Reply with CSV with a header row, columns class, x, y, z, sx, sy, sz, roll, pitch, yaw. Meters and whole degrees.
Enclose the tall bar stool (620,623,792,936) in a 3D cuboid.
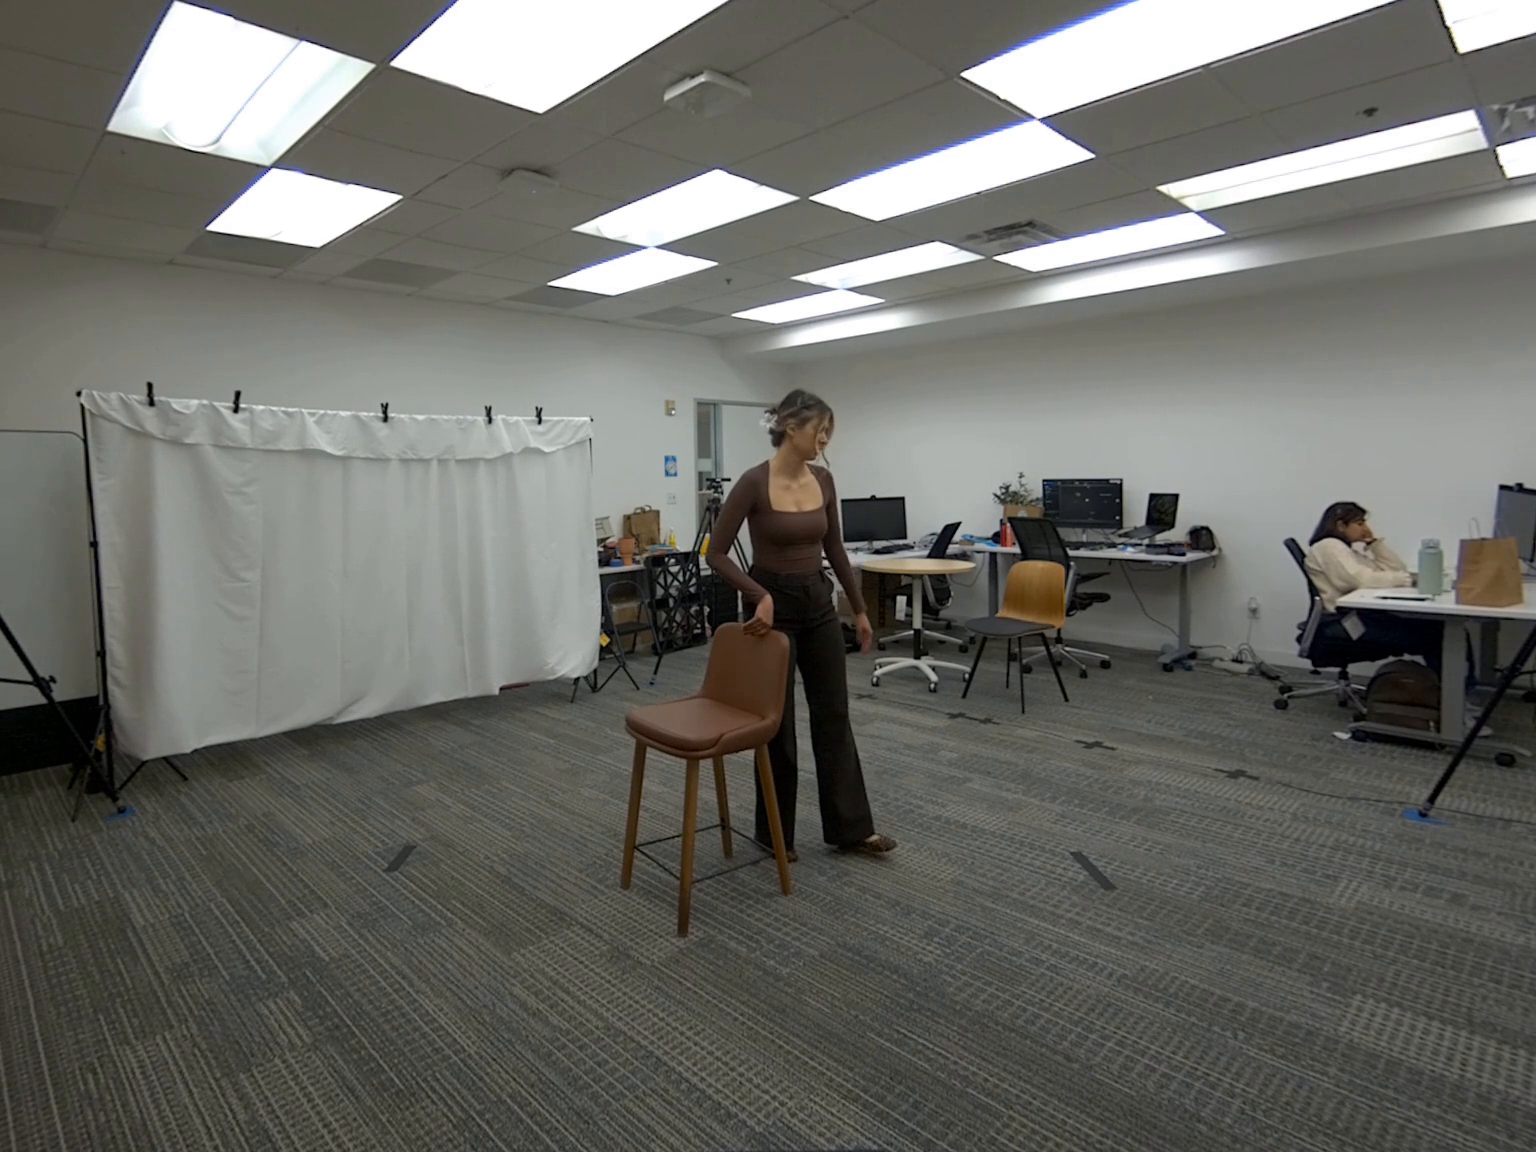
class,x,y,z,sx,sy,sz,roll,pitch,yaw
tall bar stool,-0.204,0.635,2.875,0.455,0.887,0.470,-1,4,-36
